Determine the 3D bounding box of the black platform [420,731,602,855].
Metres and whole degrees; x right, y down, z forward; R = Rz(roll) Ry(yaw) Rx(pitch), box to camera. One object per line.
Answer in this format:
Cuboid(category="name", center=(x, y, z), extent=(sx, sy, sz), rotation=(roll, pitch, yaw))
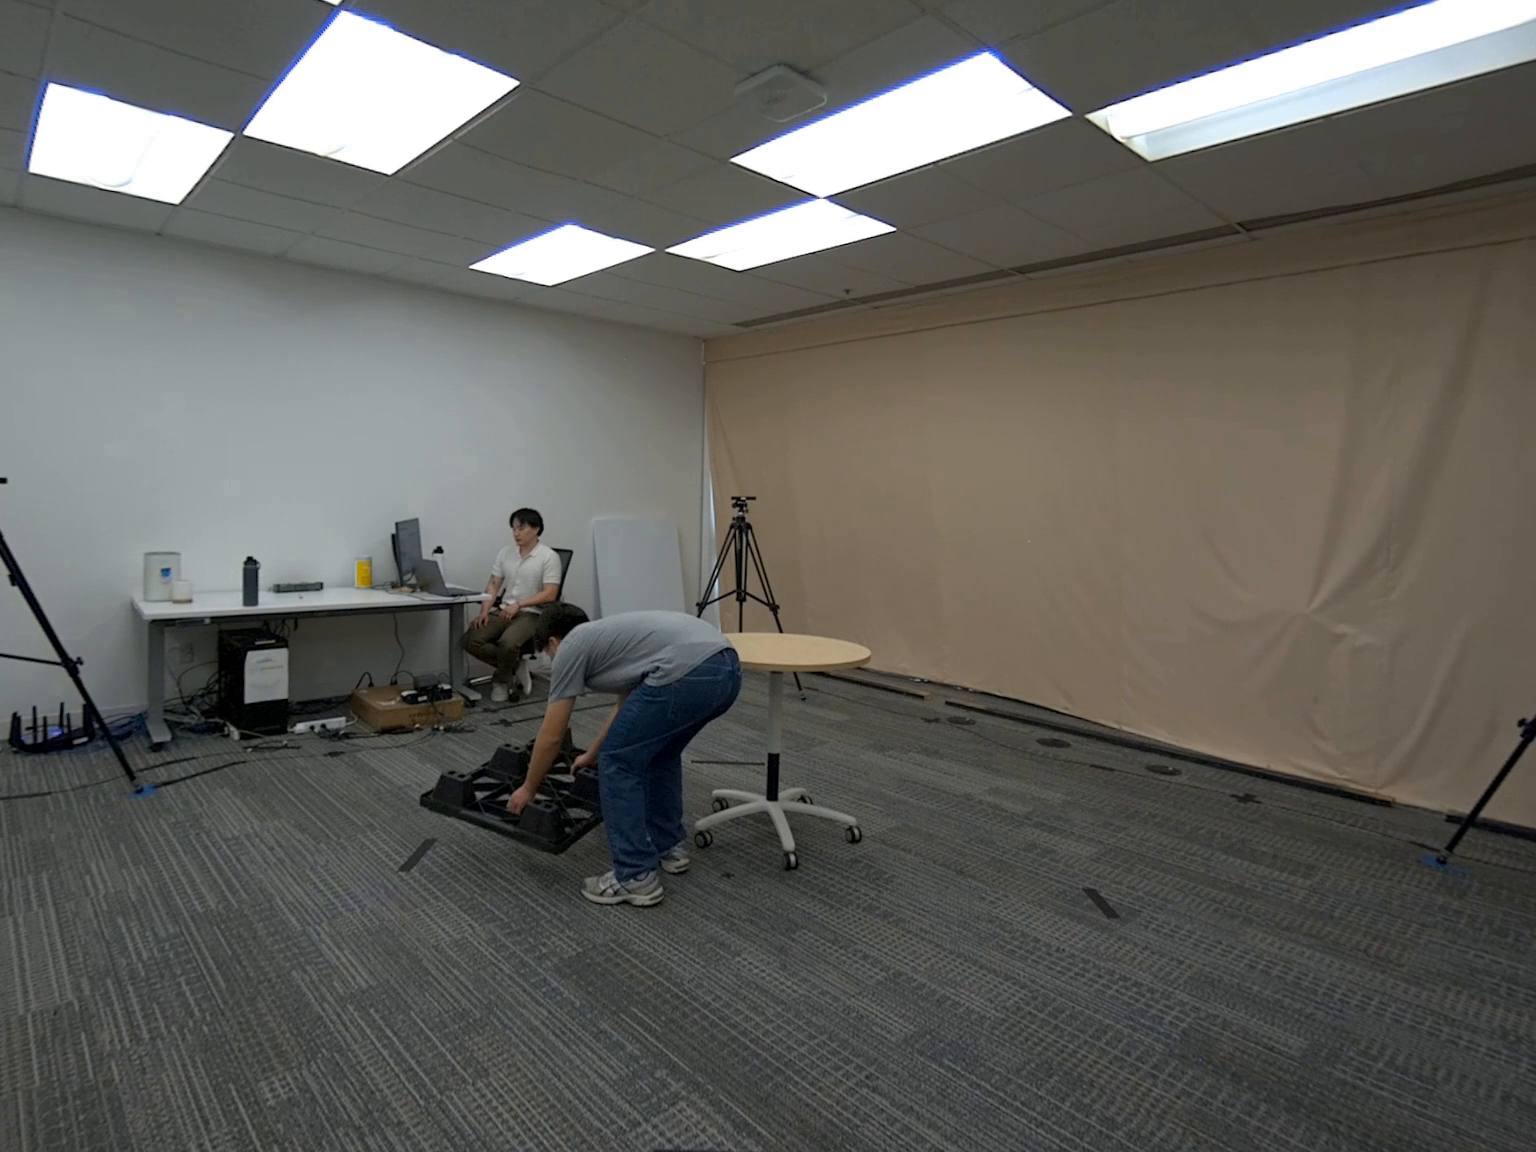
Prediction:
Cuboid(category="black platform", center=(-0.868, 0.790, 3.313), extent=(0.615, 0.142, 0.796), rotation=(11, 9, 18))
